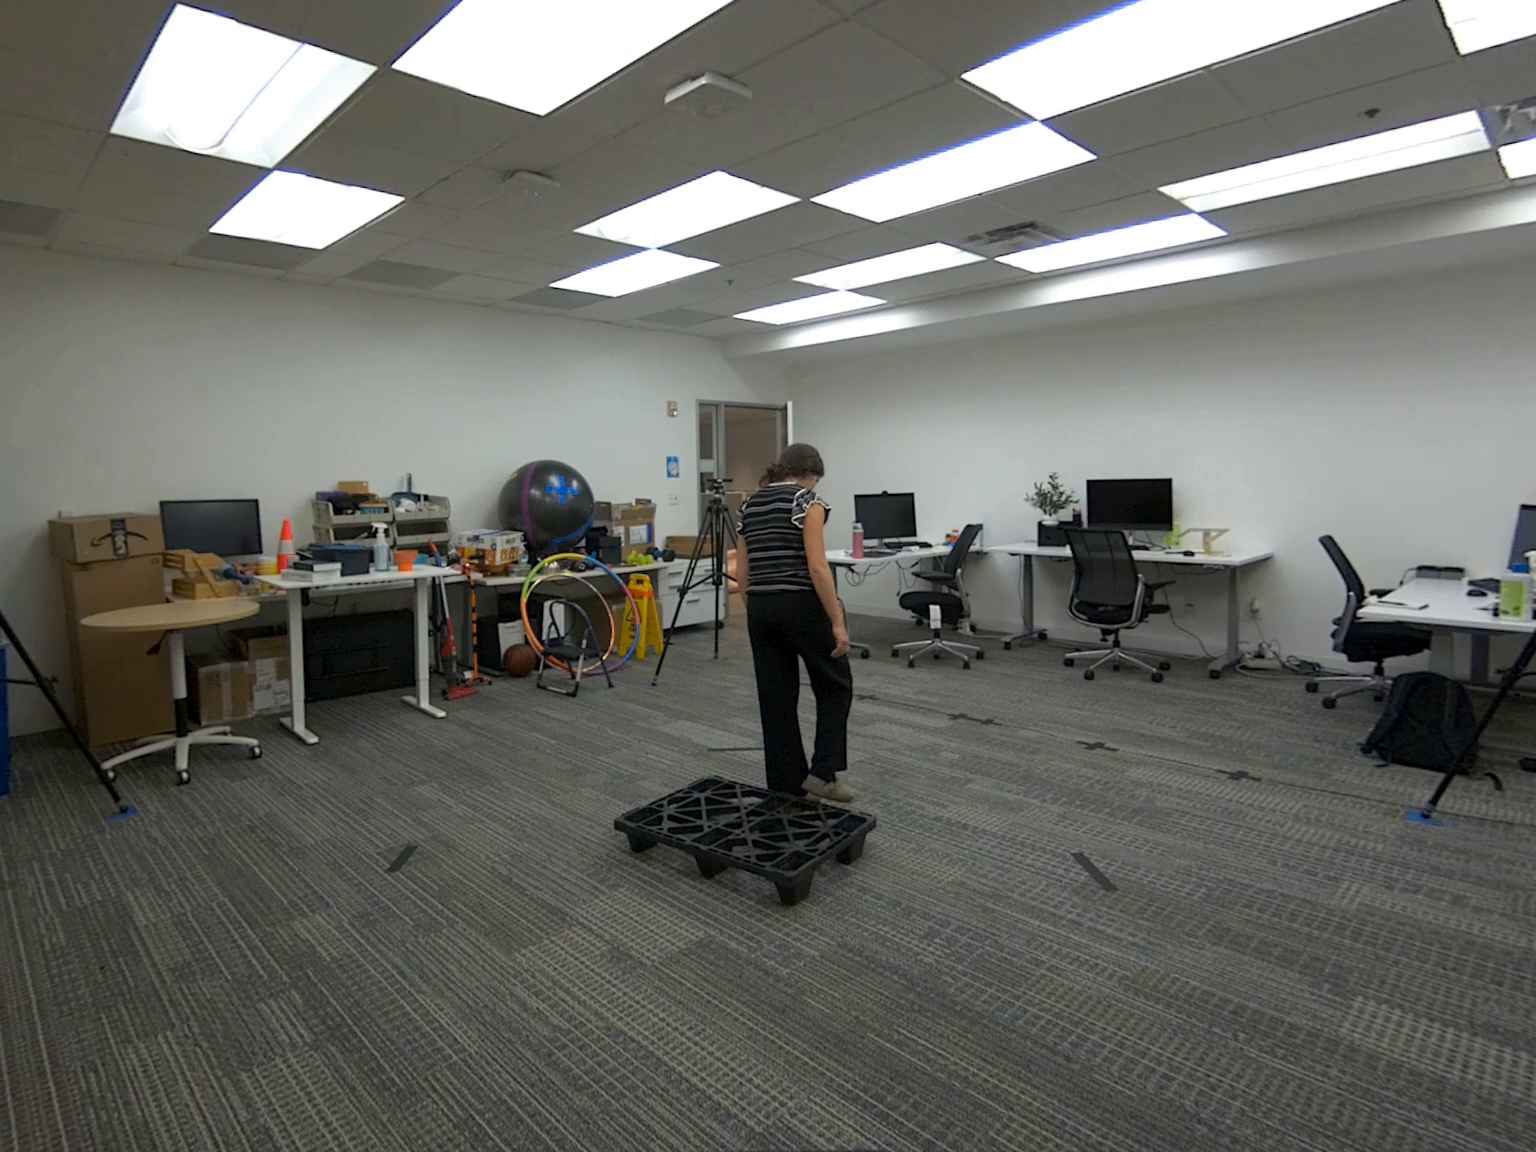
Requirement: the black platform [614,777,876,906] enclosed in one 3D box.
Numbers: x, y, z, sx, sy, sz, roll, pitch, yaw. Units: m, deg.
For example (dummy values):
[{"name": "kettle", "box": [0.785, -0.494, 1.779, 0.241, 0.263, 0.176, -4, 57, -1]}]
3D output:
[{"name": "black platform", "box": [-0.088, 0.968, 3.194, 0.829, 0.143, 0.590, 4, 7, 36]}]
